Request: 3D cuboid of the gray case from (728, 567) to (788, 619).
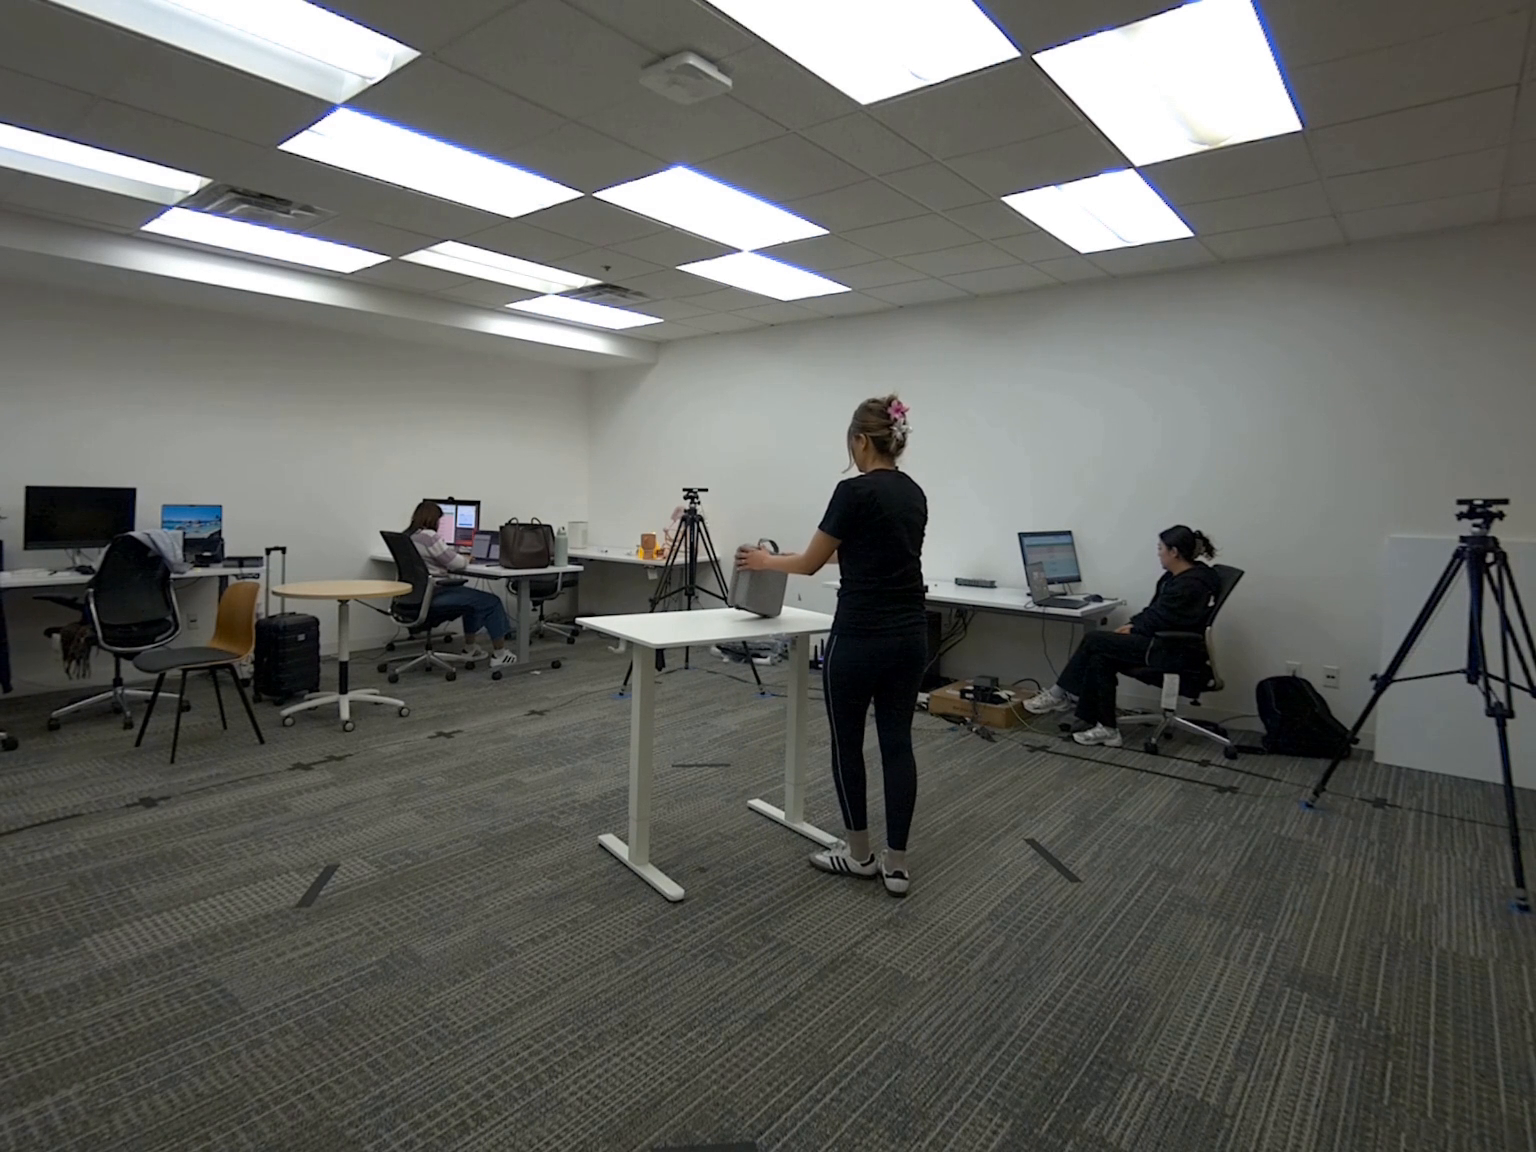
[{"bbox_3d":[-0.045,0.020,3.379,0.108,0.262,0.247,3,-11,41],"label":"gray case"}]
